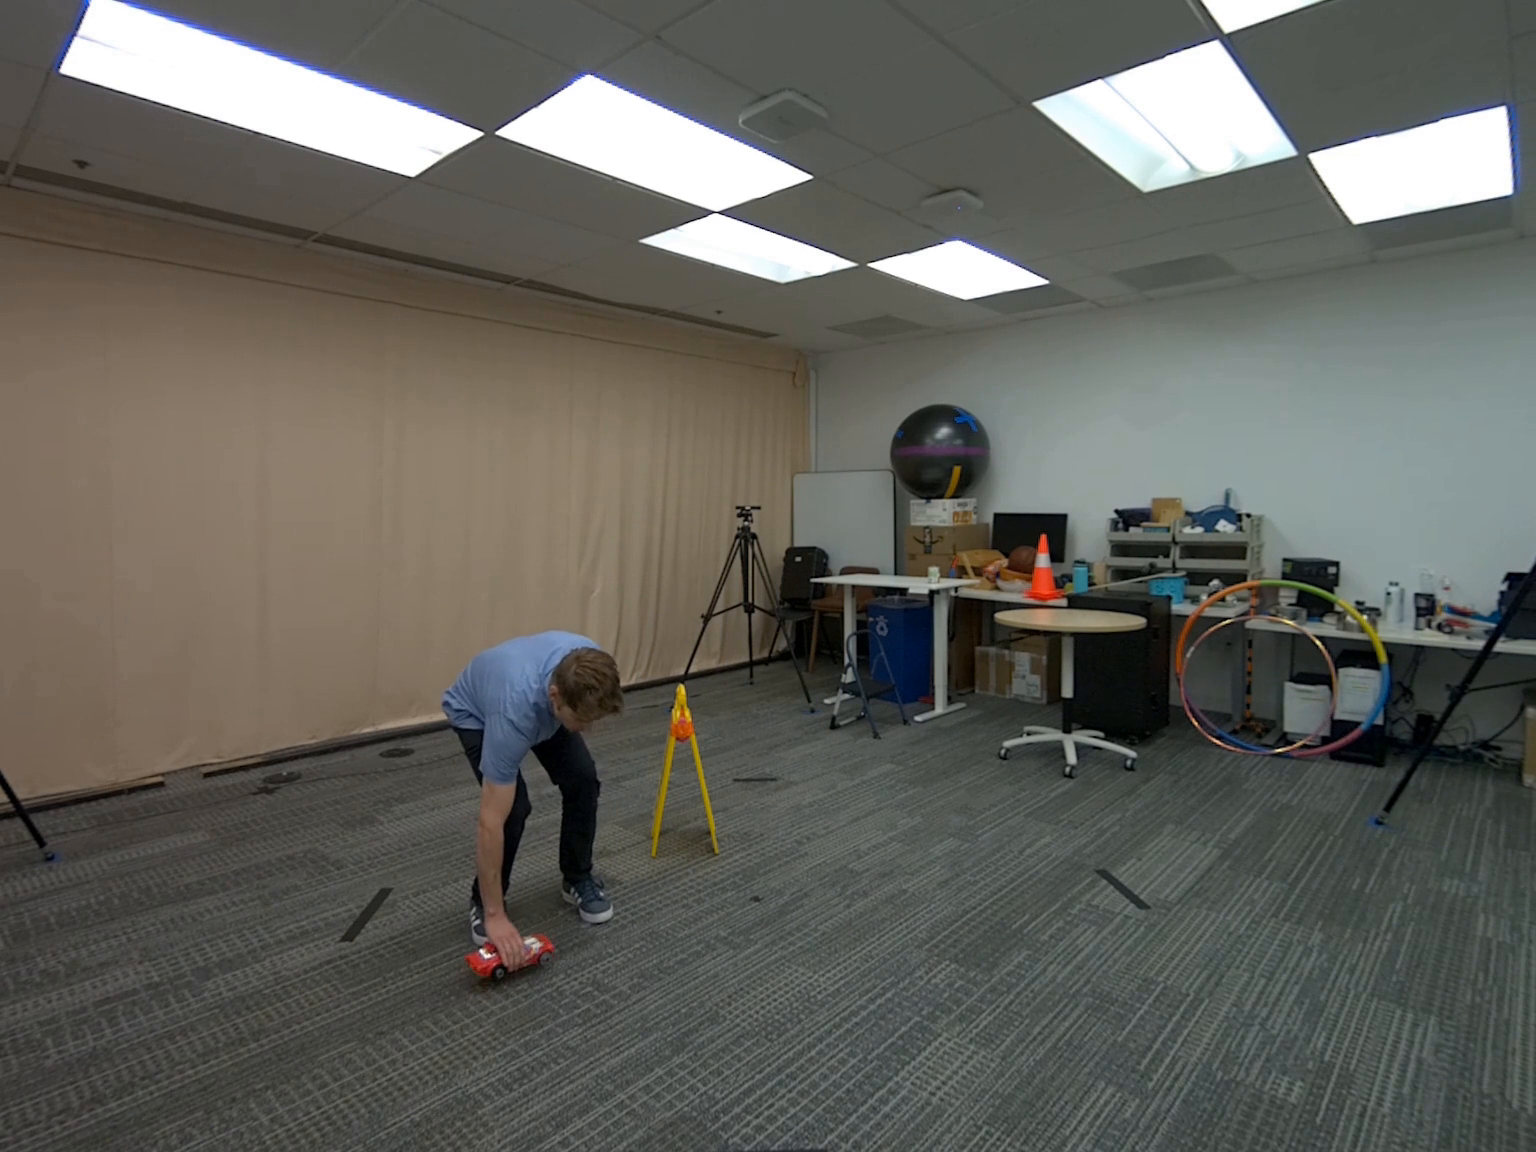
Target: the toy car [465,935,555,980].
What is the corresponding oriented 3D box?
[{"bbox_3d":[-0.770,1.109,2.495,0.246,0.083,0.134,9,-1,-36],"label":"toy car"}]
